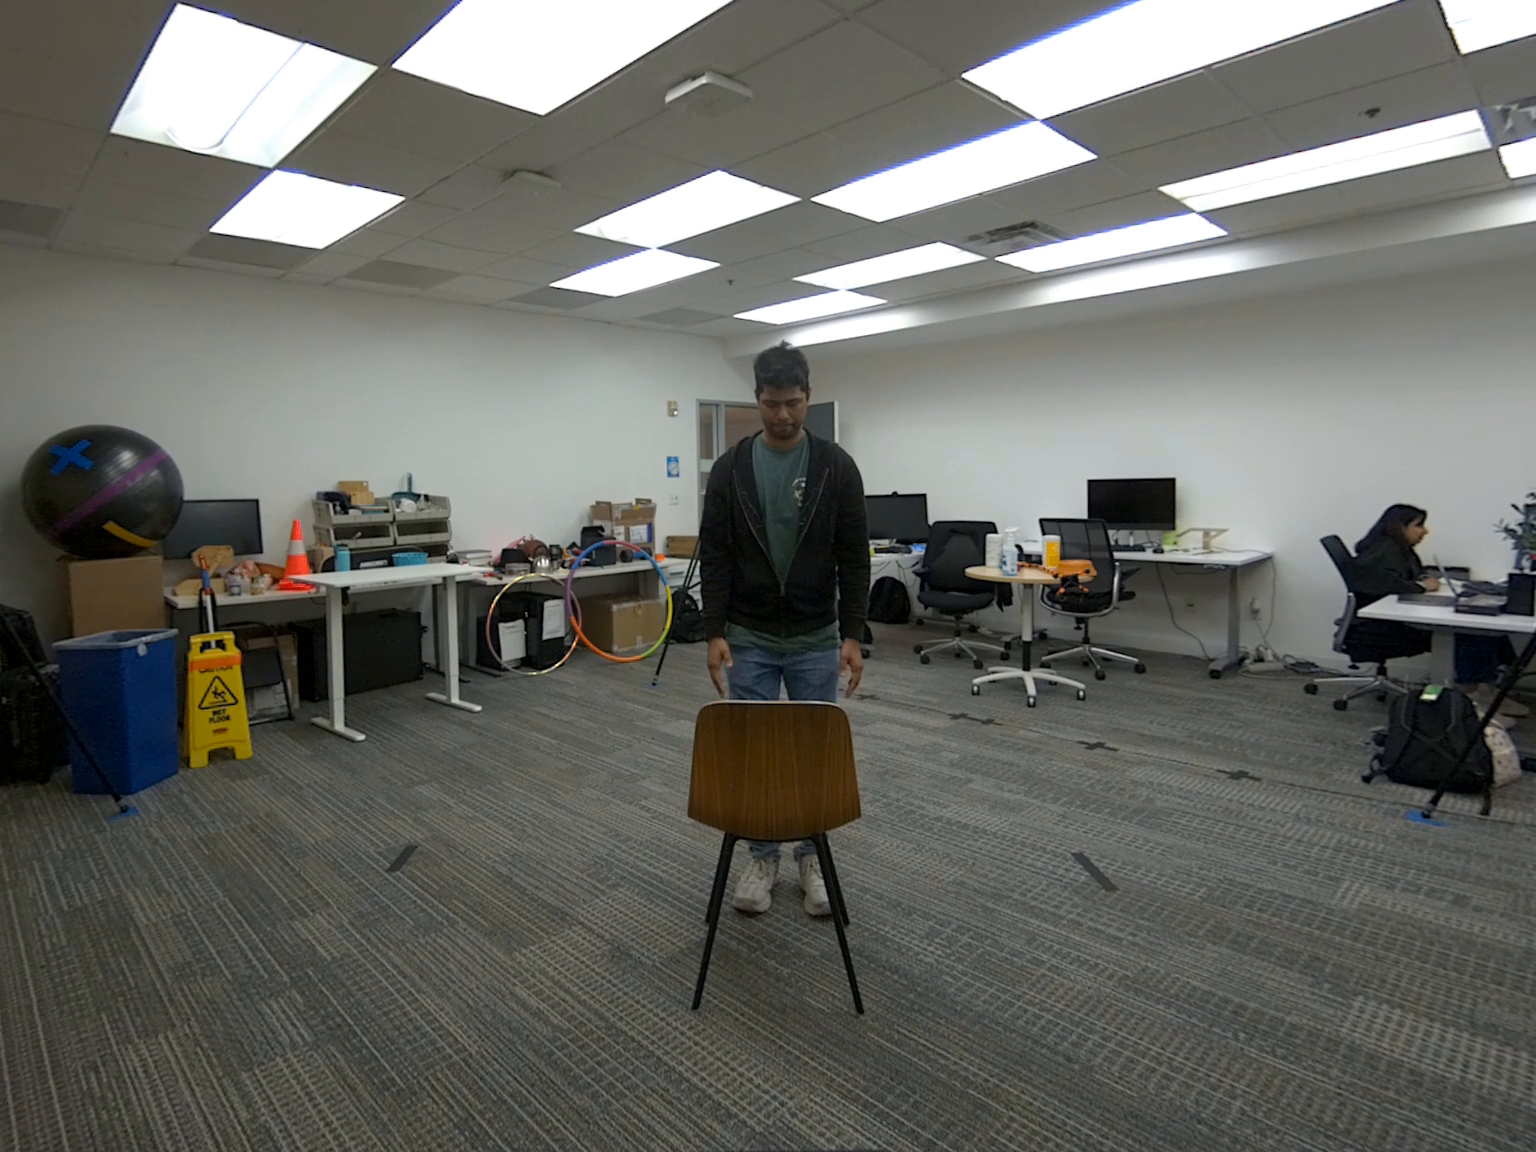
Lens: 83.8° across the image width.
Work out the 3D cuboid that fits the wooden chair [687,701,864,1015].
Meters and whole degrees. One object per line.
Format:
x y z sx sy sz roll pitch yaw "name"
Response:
0.017 0.694 2.438 0.479 0.870 0.526 -2 9 2 "wooden chair"
